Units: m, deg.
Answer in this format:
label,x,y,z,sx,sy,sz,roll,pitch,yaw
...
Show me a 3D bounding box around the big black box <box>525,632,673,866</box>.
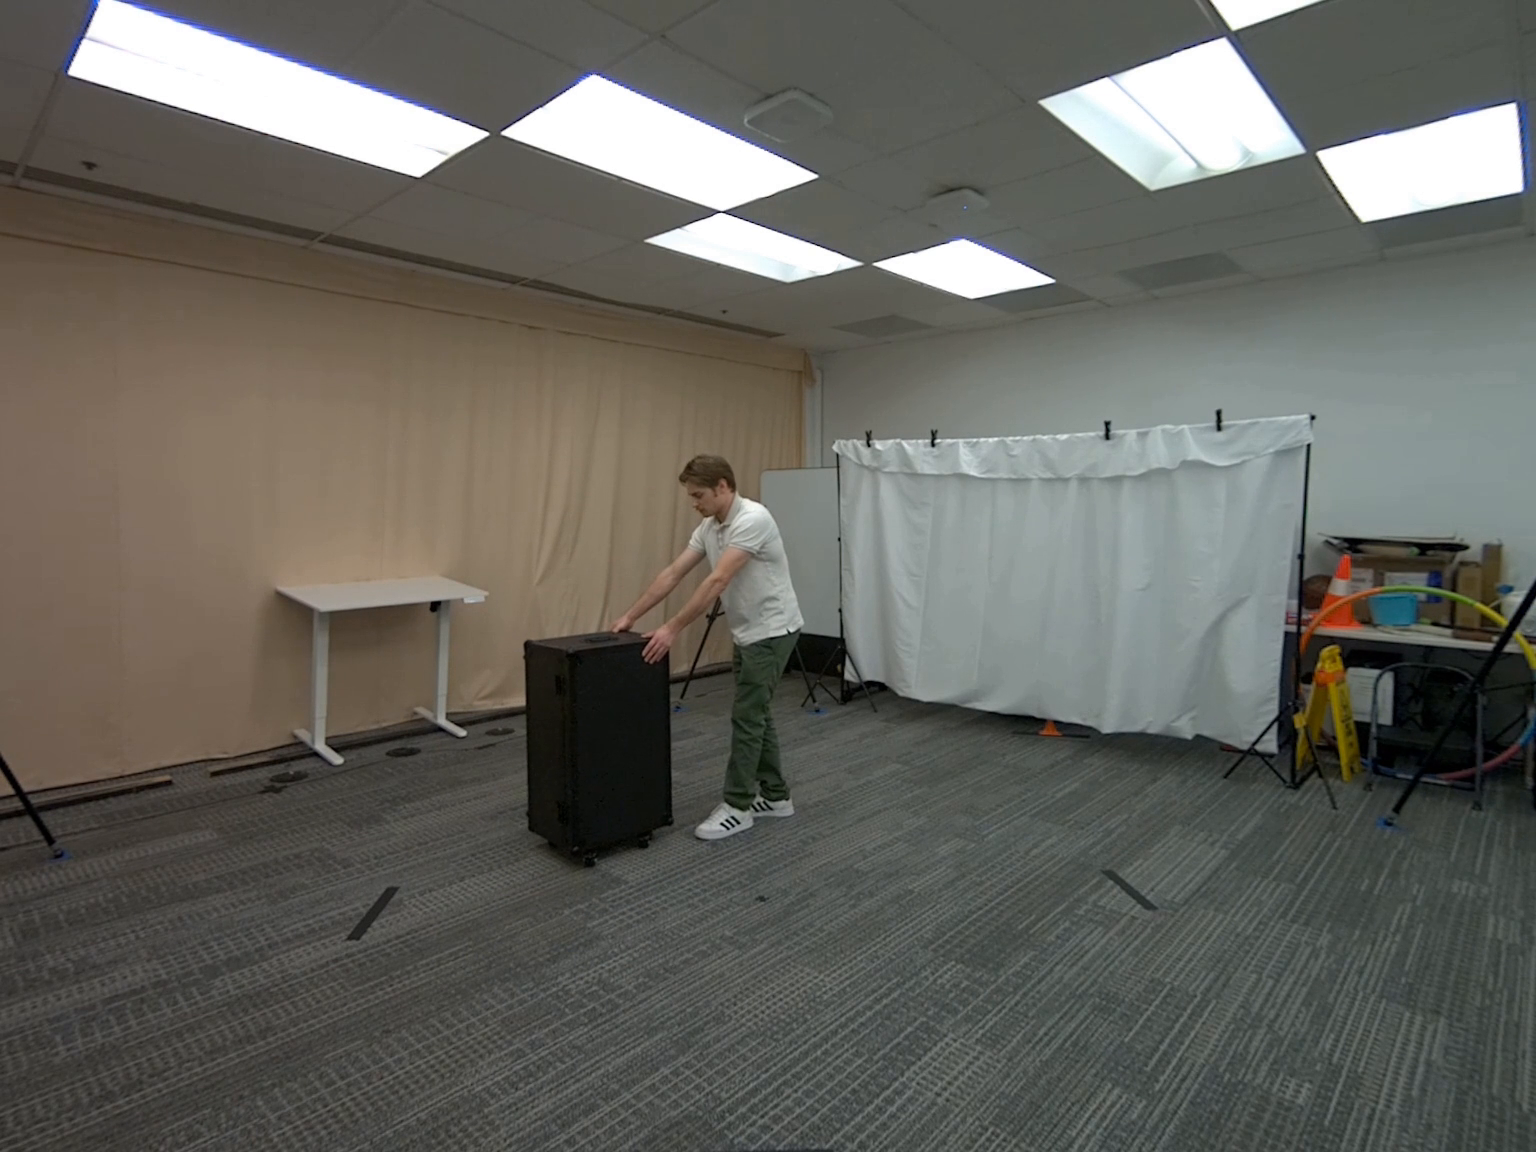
label,x,y,z,sx,sy,sz,roll,pitch,yaw
big black box,-0.703,0.688,3.461,0.507,0.867,0.398,-3,3,-43
